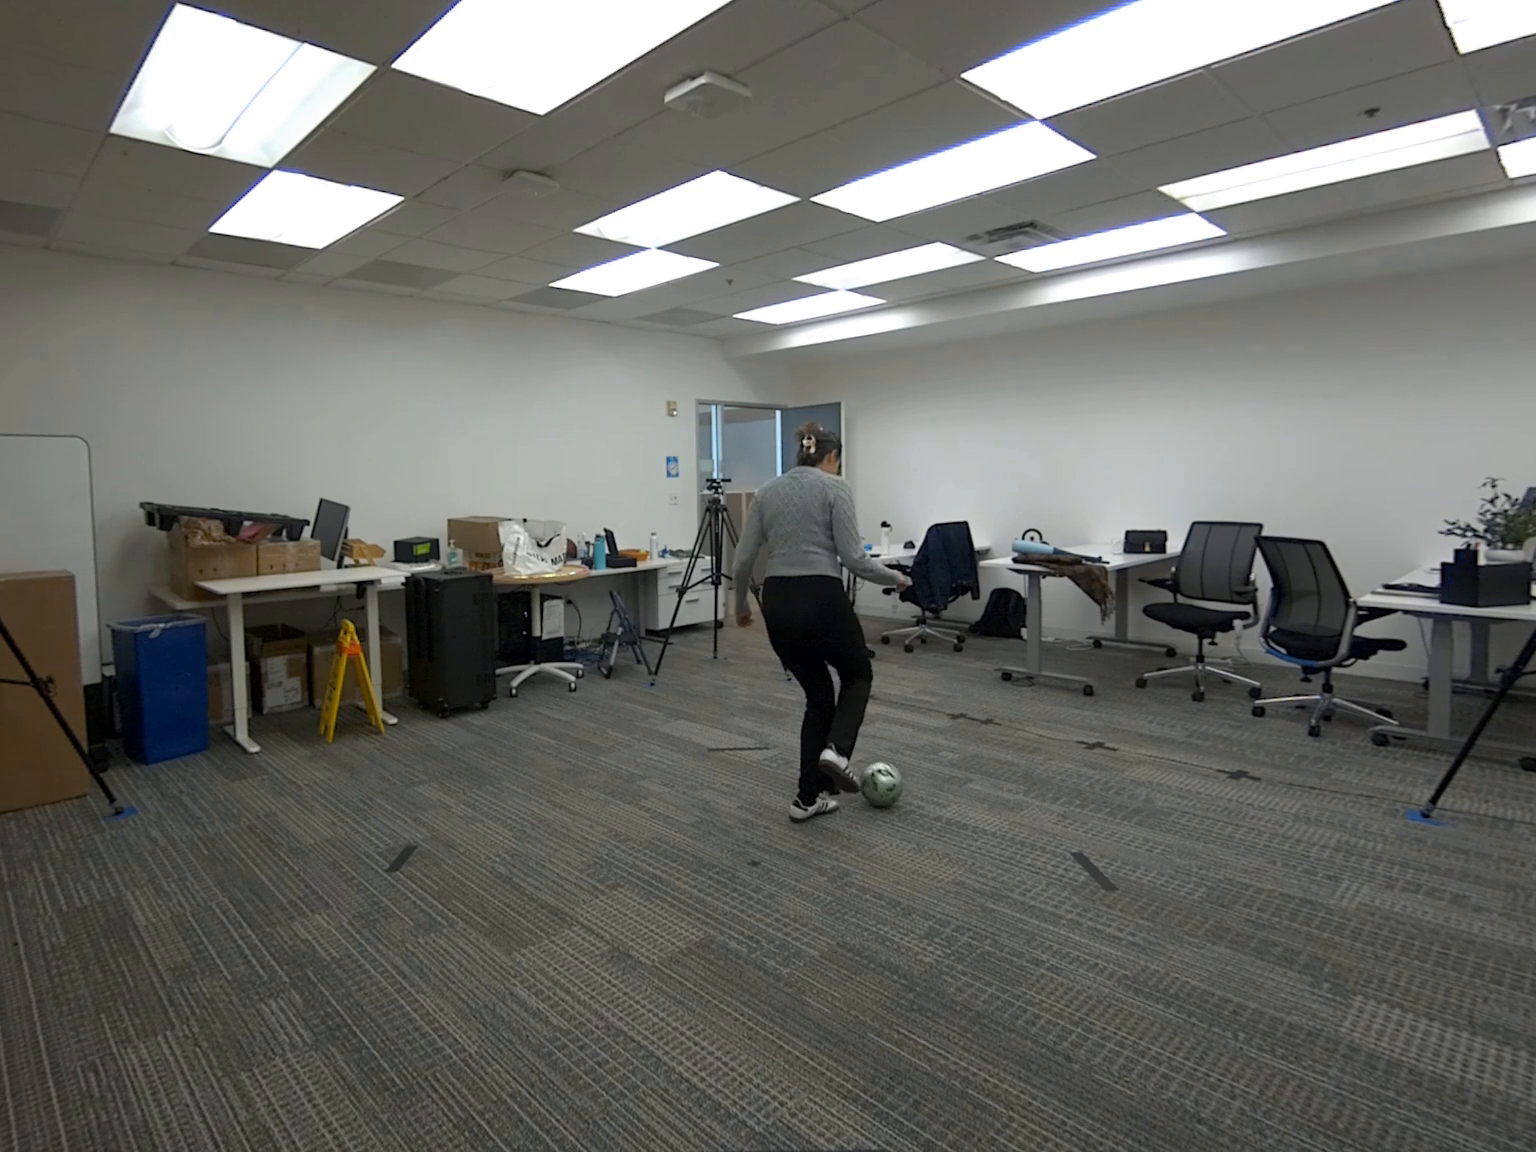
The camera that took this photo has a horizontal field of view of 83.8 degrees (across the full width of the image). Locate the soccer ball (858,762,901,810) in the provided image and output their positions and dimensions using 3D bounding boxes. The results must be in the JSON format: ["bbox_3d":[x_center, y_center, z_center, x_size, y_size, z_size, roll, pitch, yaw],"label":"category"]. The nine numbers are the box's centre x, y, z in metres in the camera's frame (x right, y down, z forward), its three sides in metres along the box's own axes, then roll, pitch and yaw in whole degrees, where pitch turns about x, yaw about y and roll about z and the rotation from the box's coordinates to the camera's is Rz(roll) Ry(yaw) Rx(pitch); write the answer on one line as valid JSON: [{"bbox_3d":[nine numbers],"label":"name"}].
[{"bbox_3d":[0.480,0.880,3.633,0.187,0.187,0.188,-1,5,-2],"label":"soccer ball"}]
